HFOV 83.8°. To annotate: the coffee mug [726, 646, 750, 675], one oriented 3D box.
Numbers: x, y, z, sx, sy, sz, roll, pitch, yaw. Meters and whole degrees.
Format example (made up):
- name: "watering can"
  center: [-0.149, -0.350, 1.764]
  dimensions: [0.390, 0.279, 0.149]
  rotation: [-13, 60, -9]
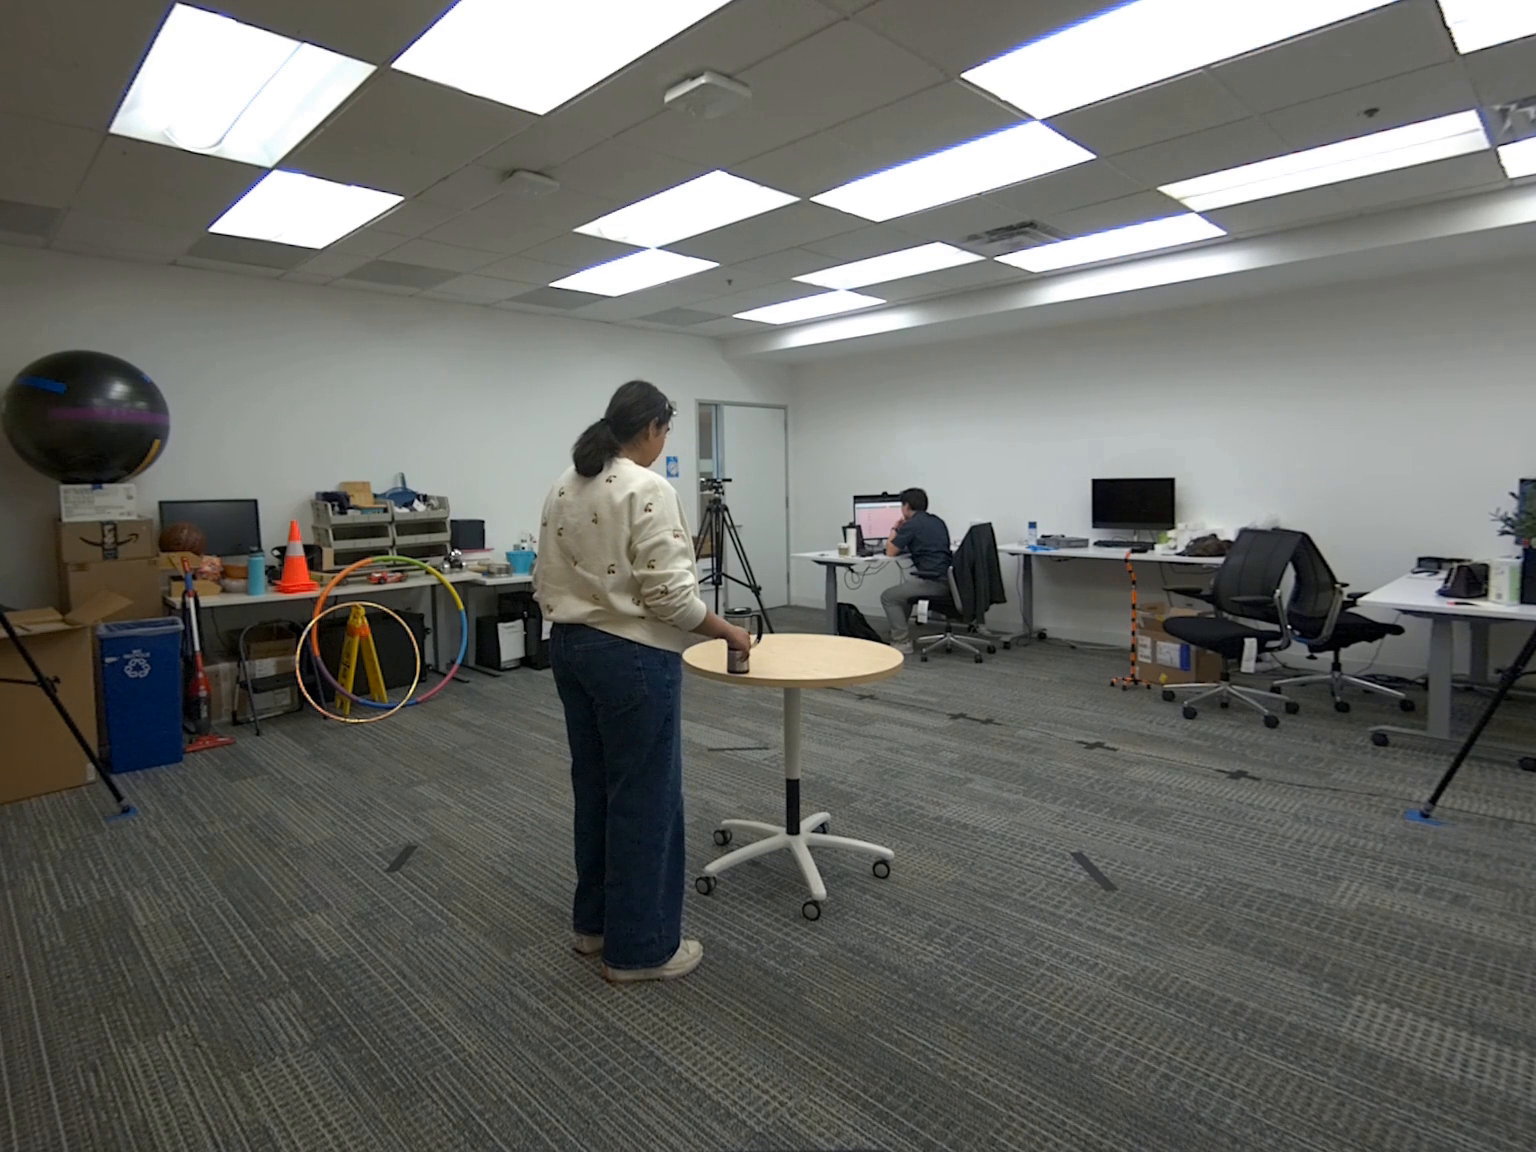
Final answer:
- name: "coffee mug"
  center: [-0.061, 0.205, 2.693]
  dimensions: [0.121, 0.203, 0.088]
  rotation: [-4, 2, -7]
